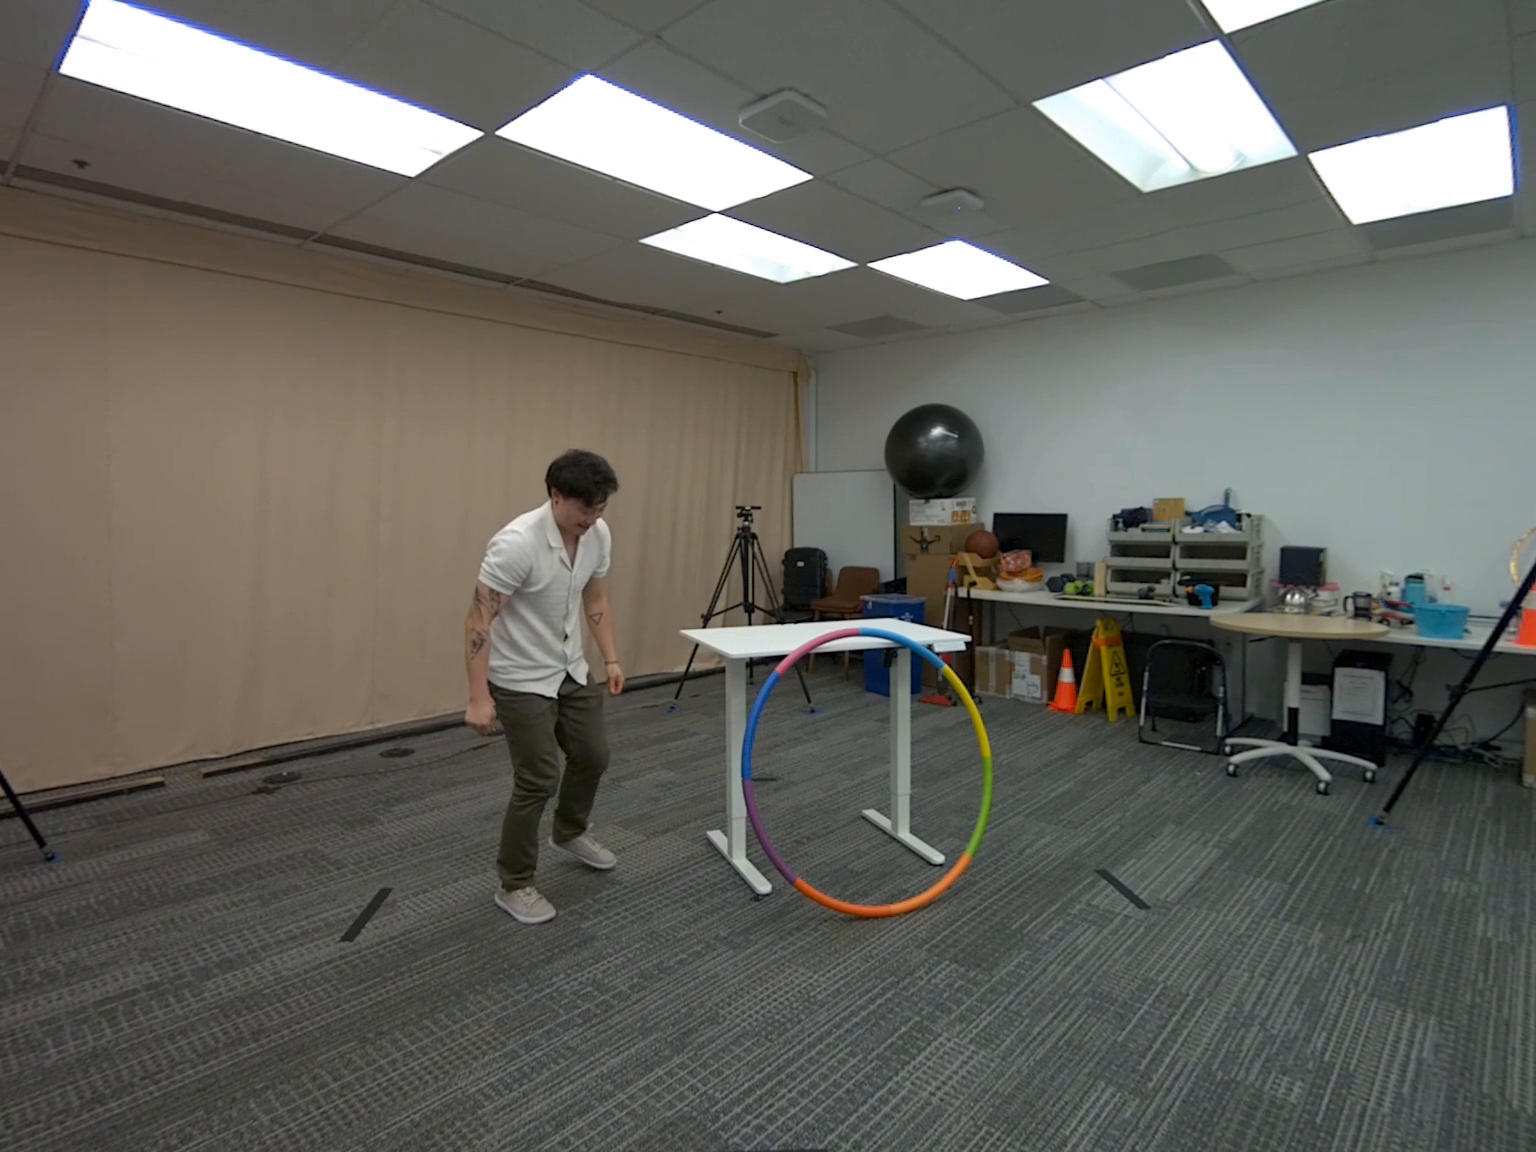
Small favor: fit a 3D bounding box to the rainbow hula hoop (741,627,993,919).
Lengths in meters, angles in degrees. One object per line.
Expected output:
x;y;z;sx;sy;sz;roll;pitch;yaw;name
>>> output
0.387;0.681;2.957;0.959;0.988;0.036;-2;-14;-20;rainbow hula hoop
